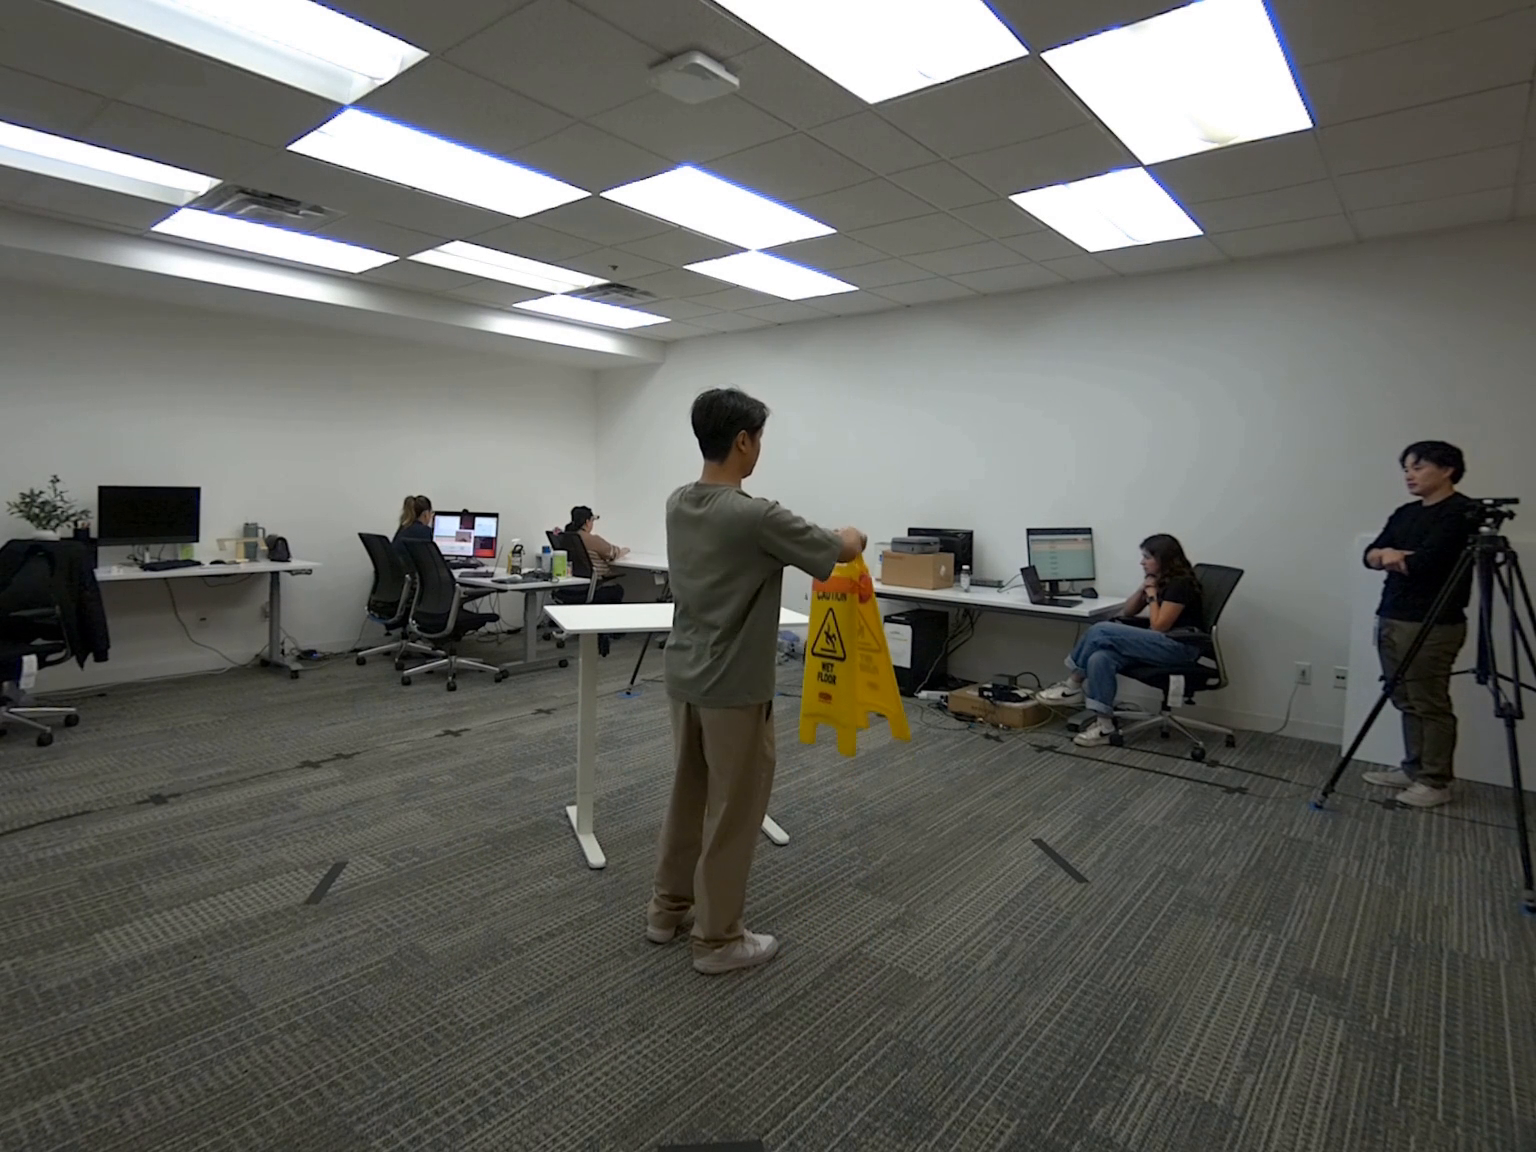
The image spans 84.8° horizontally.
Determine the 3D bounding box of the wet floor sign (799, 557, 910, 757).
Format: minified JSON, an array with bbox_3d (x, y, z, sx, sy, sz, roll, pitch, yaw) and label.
[{"bbox_3d":[0.237,0.202,2.725,0.282,0.645,0.290,-4,2,-30],"label":"wet floor sign"}]
